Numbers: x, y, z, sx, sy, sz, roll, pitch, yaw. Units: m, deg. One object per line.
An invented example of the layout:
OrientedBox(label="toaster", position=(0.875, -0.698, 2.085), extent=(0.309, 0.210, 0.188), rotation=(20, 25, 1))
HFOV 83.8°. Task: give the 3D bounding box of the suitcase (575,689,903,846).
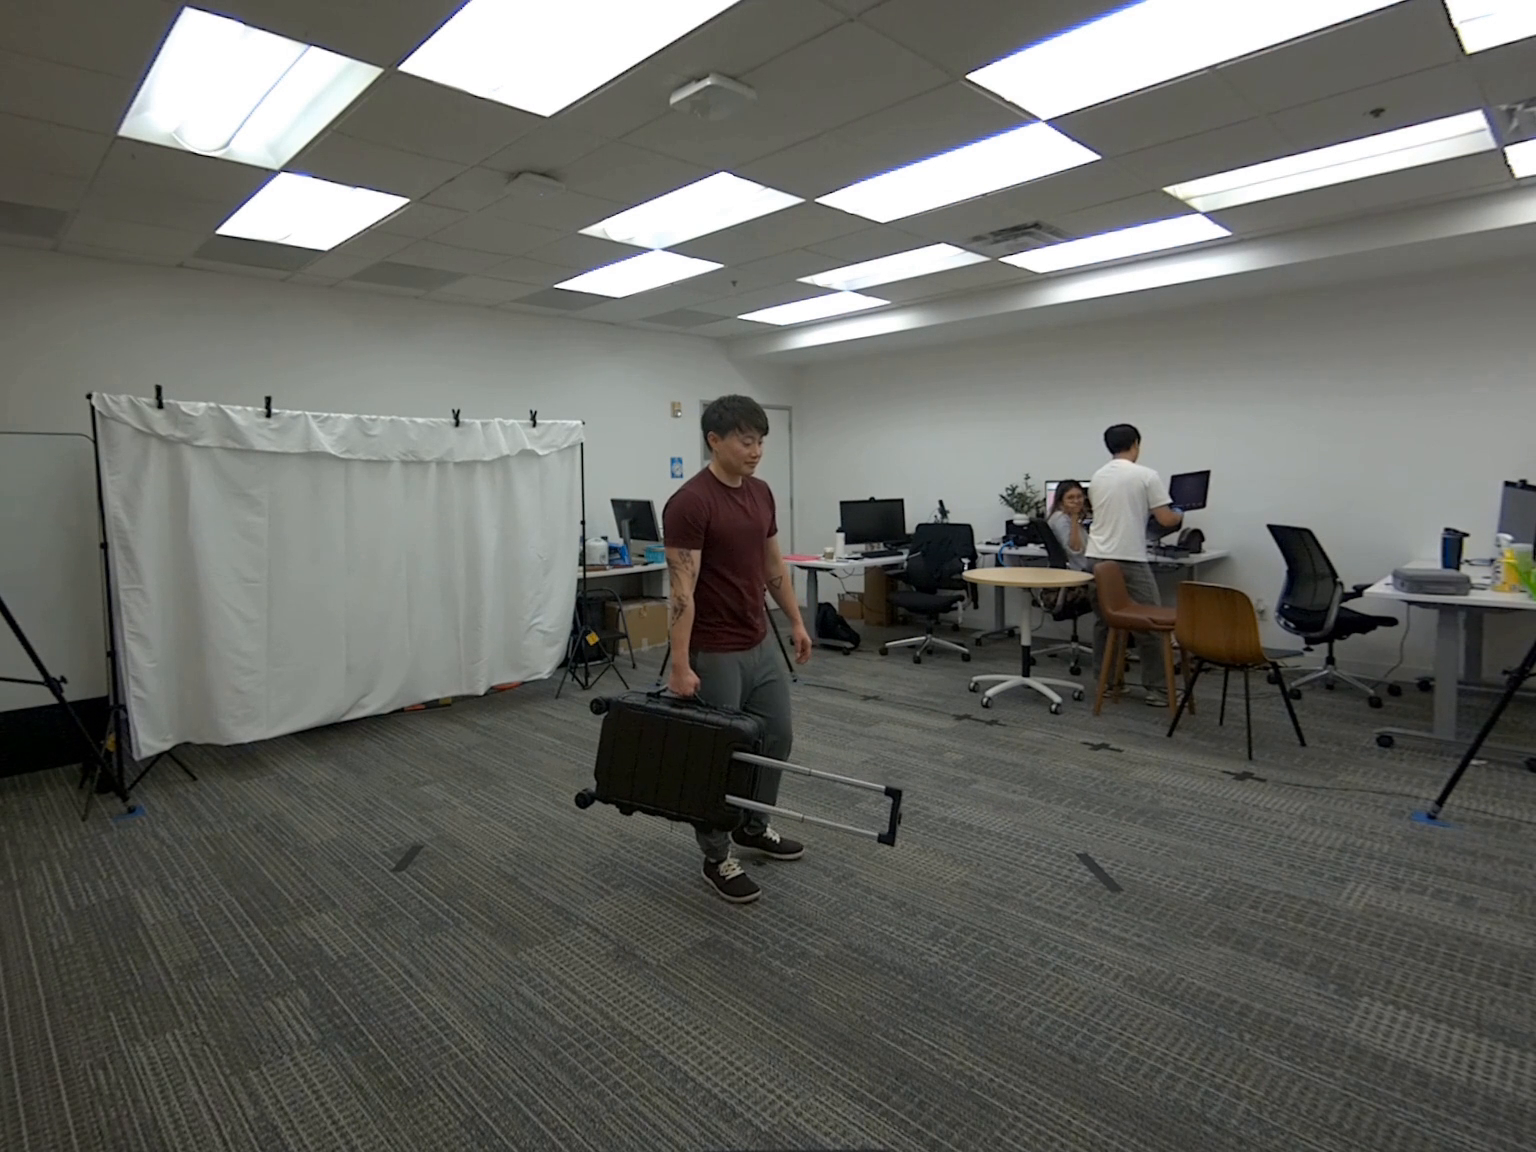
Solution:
OrientedBox(label="suitcase", position=(-0.080, 0.596, 2.627), extent=(0.996, 0.385, 0.252), rotation=(6, -4, 16))
